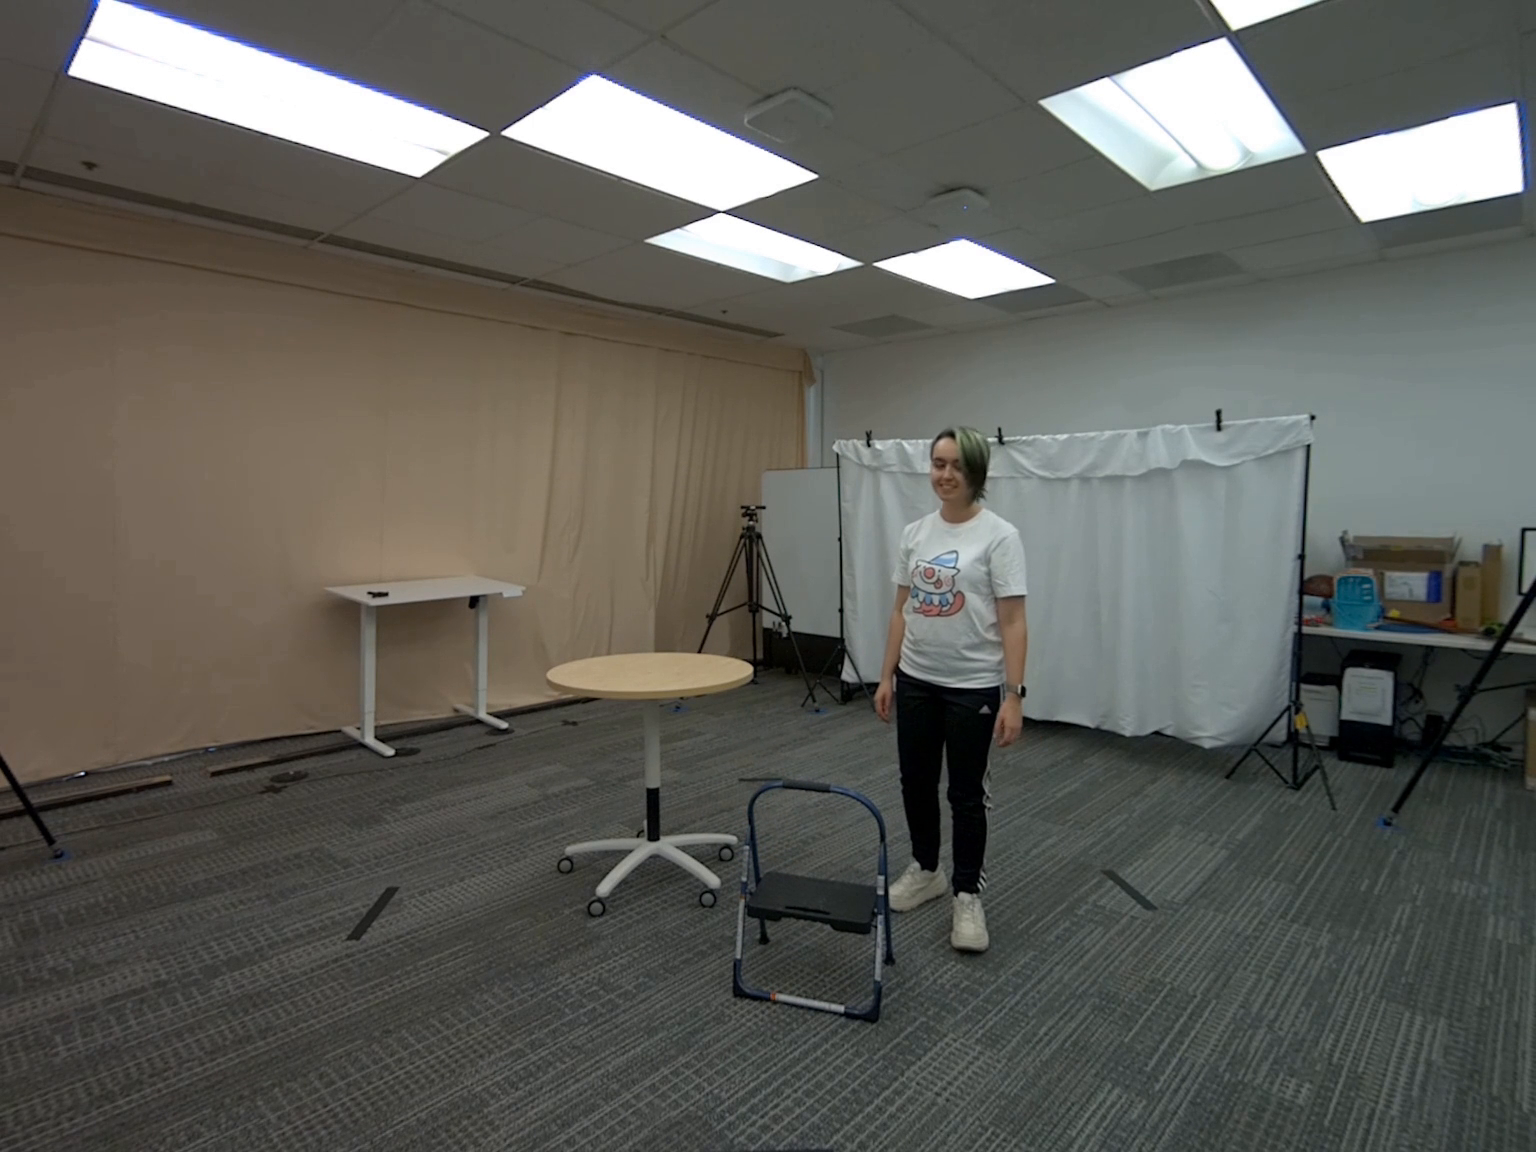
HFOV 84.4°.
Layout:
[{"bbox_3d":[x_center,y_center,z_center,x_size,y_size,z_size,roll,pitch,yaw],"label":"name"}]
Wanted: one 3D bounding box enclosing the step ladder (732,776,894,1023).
[{"bbox_3d":[0.142,0.884,2.469,0.439,0.605,0.343,1,3,17],"label":"step ladder"}]
